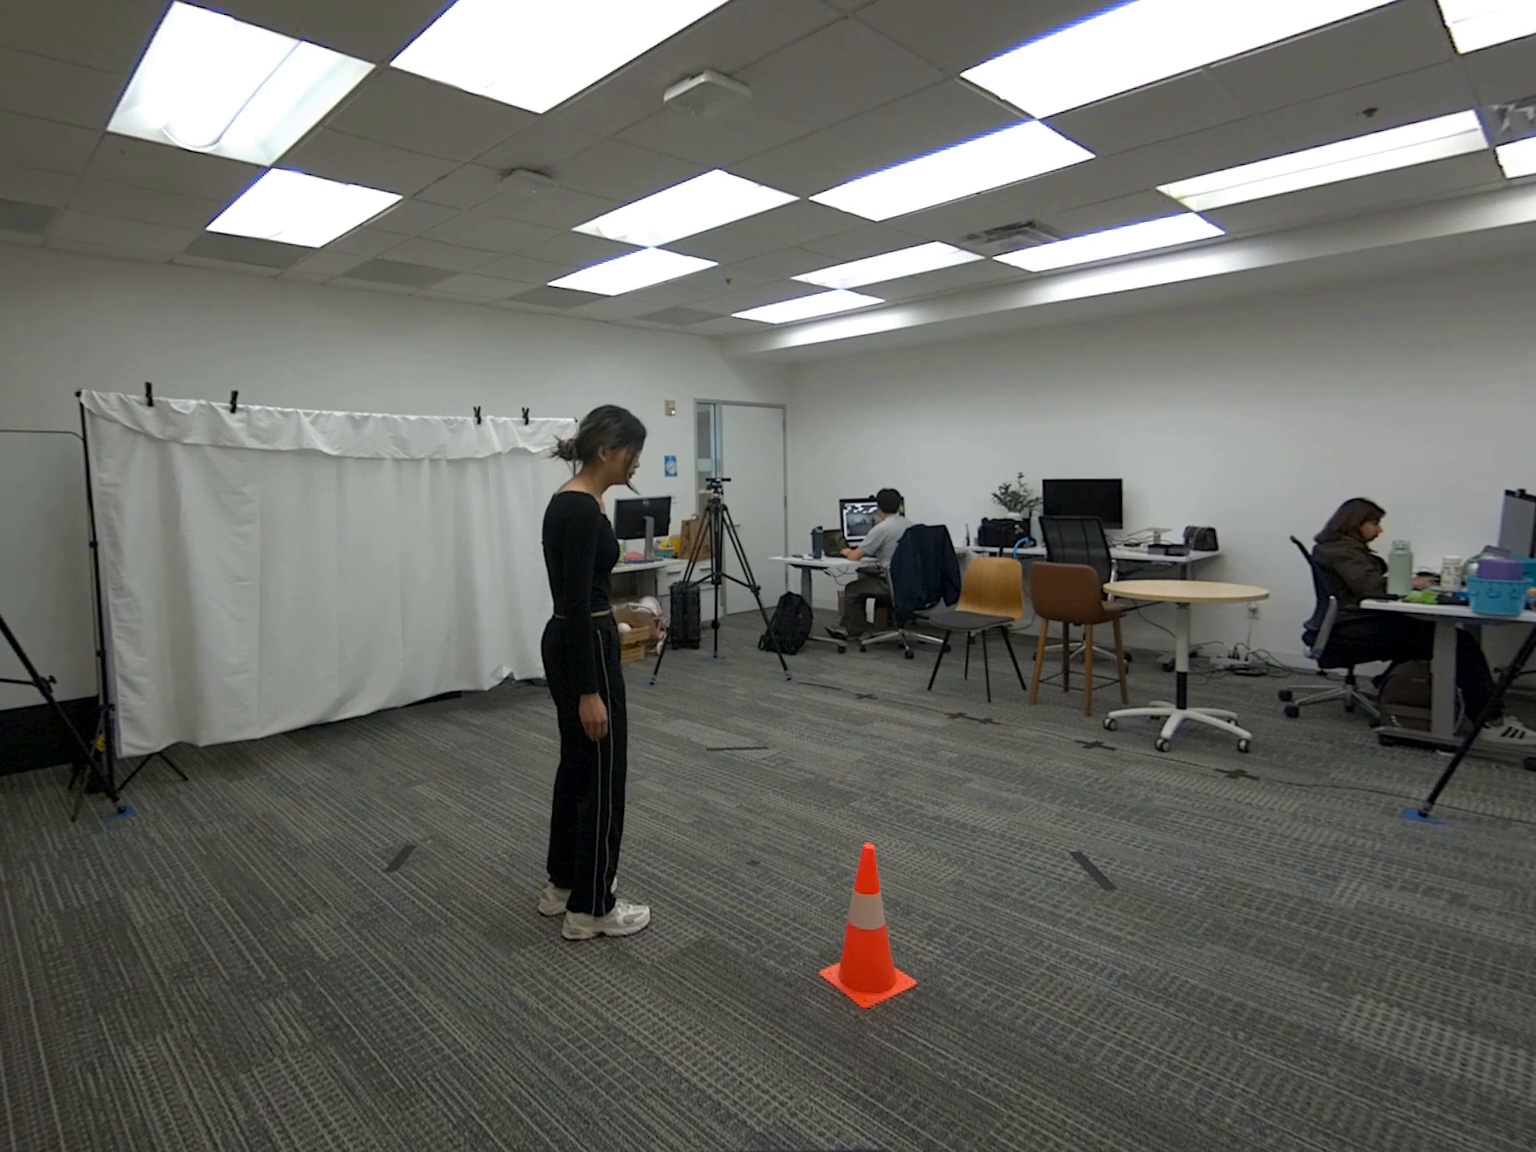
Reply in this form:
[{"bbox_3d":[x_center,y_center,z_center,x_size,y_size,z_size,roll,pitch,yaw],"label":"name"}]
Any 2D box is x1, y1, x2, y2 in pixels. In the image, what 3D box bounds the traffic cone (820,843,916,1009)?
[{"bbox_3d":[0.276,0.936,2.361,0.198,0.382,0.211,-4,7,-31],"label":"traffic cone"}]
